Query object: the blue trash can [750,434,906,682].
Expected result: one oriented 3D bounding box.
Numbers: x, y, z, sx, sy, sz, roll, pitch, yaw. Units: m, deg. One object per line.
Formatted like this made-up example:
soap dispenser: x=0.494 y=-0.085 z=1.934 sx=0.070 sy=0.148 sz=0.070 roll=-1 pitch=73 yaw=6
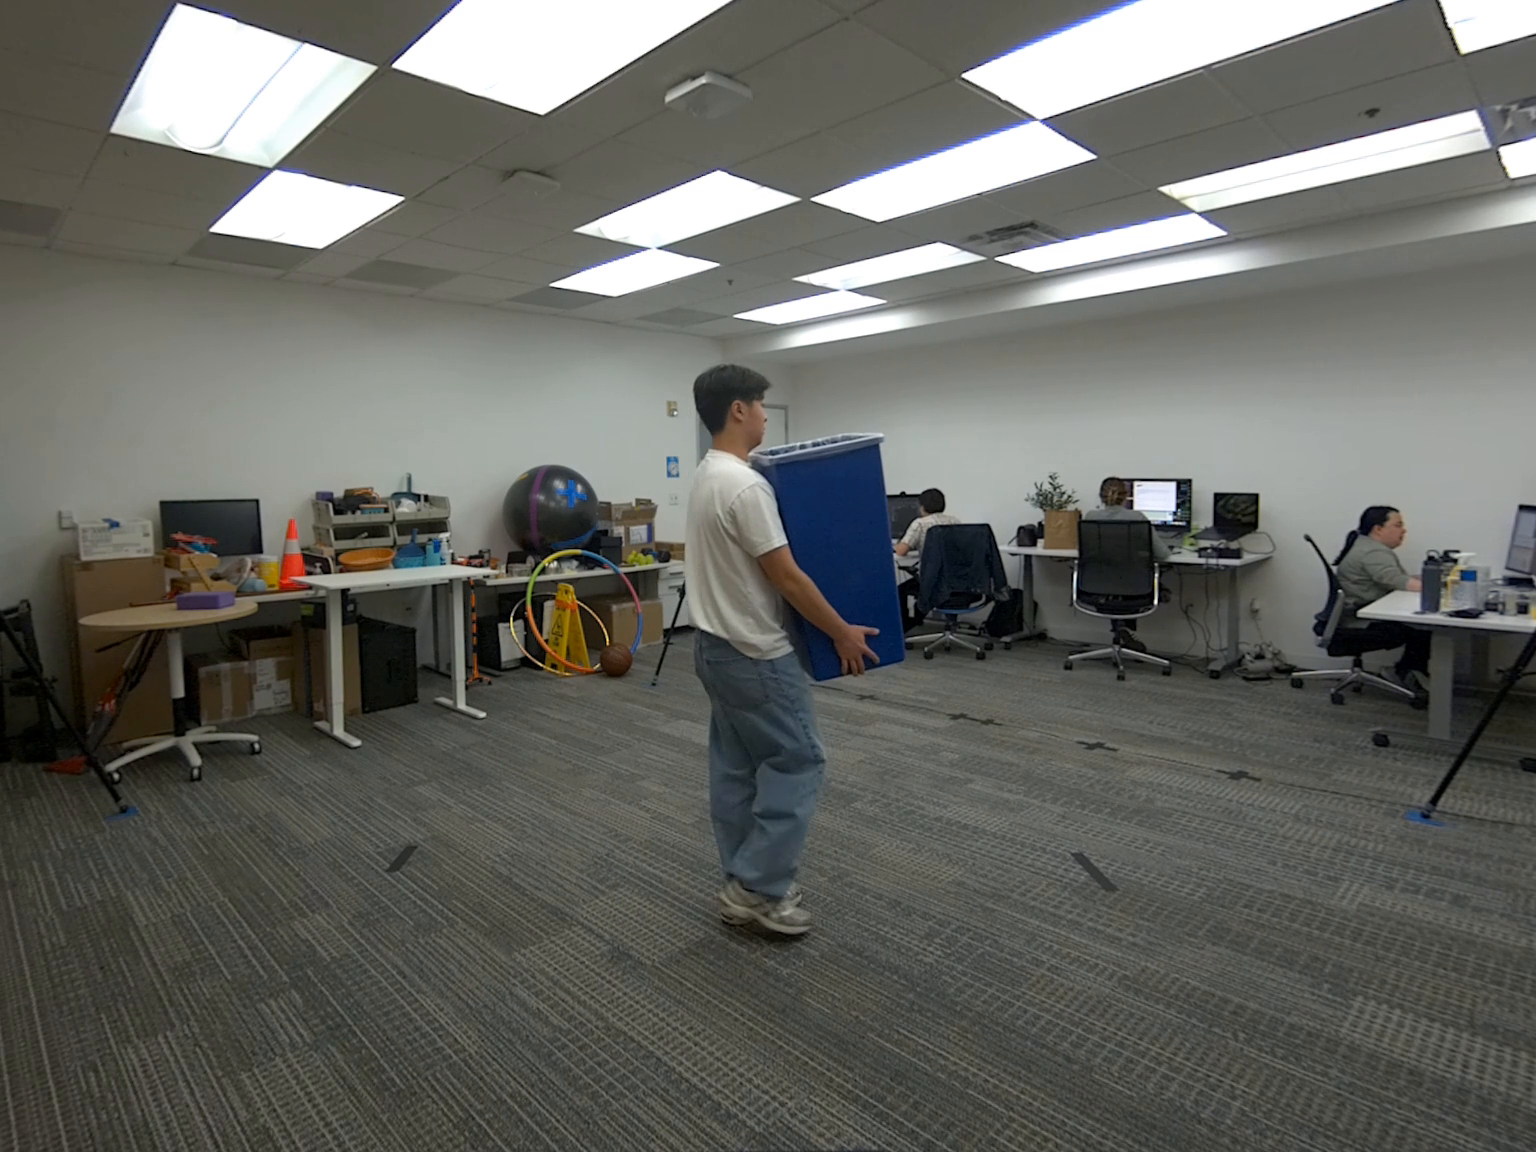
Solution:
blue trash can: x=0.206 y=-0.076 z=2.733 sx=0.375 sy=0.707 sz=0.380 roll=-12 pitch=8 yaw=-11
